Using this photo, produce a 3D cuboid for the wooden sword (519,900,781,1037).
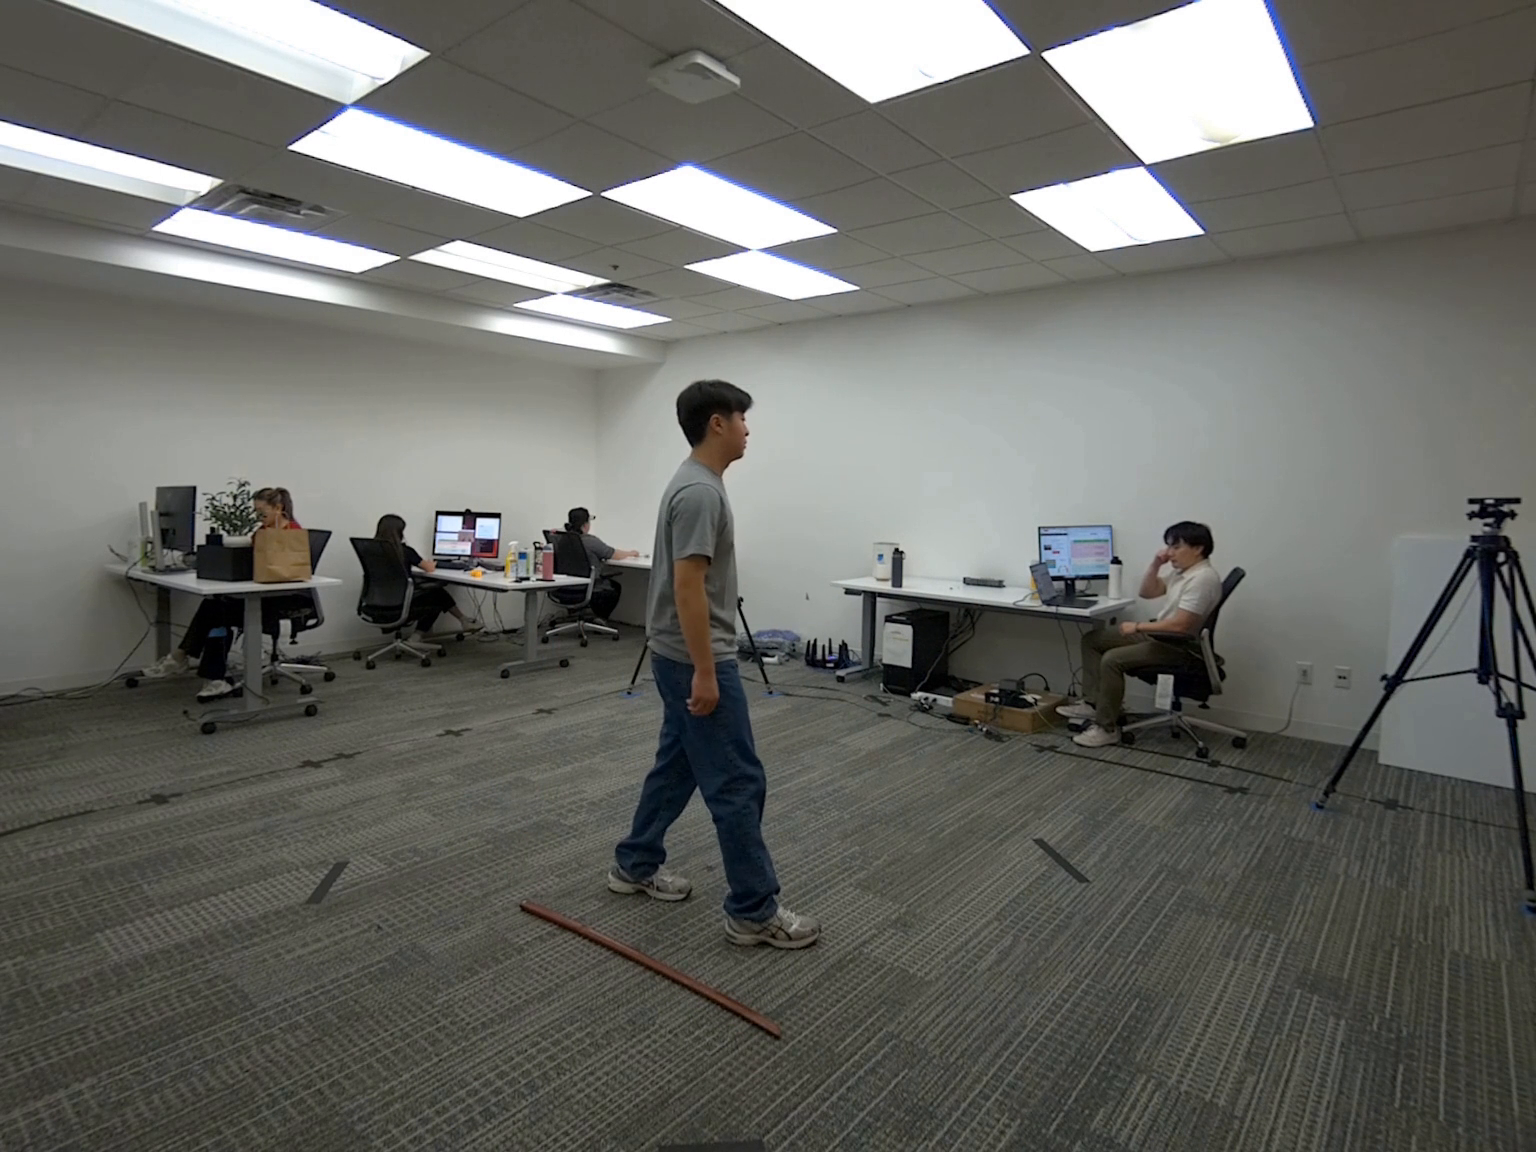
[{"bbox_3d":[-0.376,1.102,2.486,1.059,0.024,0.050,5,9,37],"label":"wooden sword"}]
